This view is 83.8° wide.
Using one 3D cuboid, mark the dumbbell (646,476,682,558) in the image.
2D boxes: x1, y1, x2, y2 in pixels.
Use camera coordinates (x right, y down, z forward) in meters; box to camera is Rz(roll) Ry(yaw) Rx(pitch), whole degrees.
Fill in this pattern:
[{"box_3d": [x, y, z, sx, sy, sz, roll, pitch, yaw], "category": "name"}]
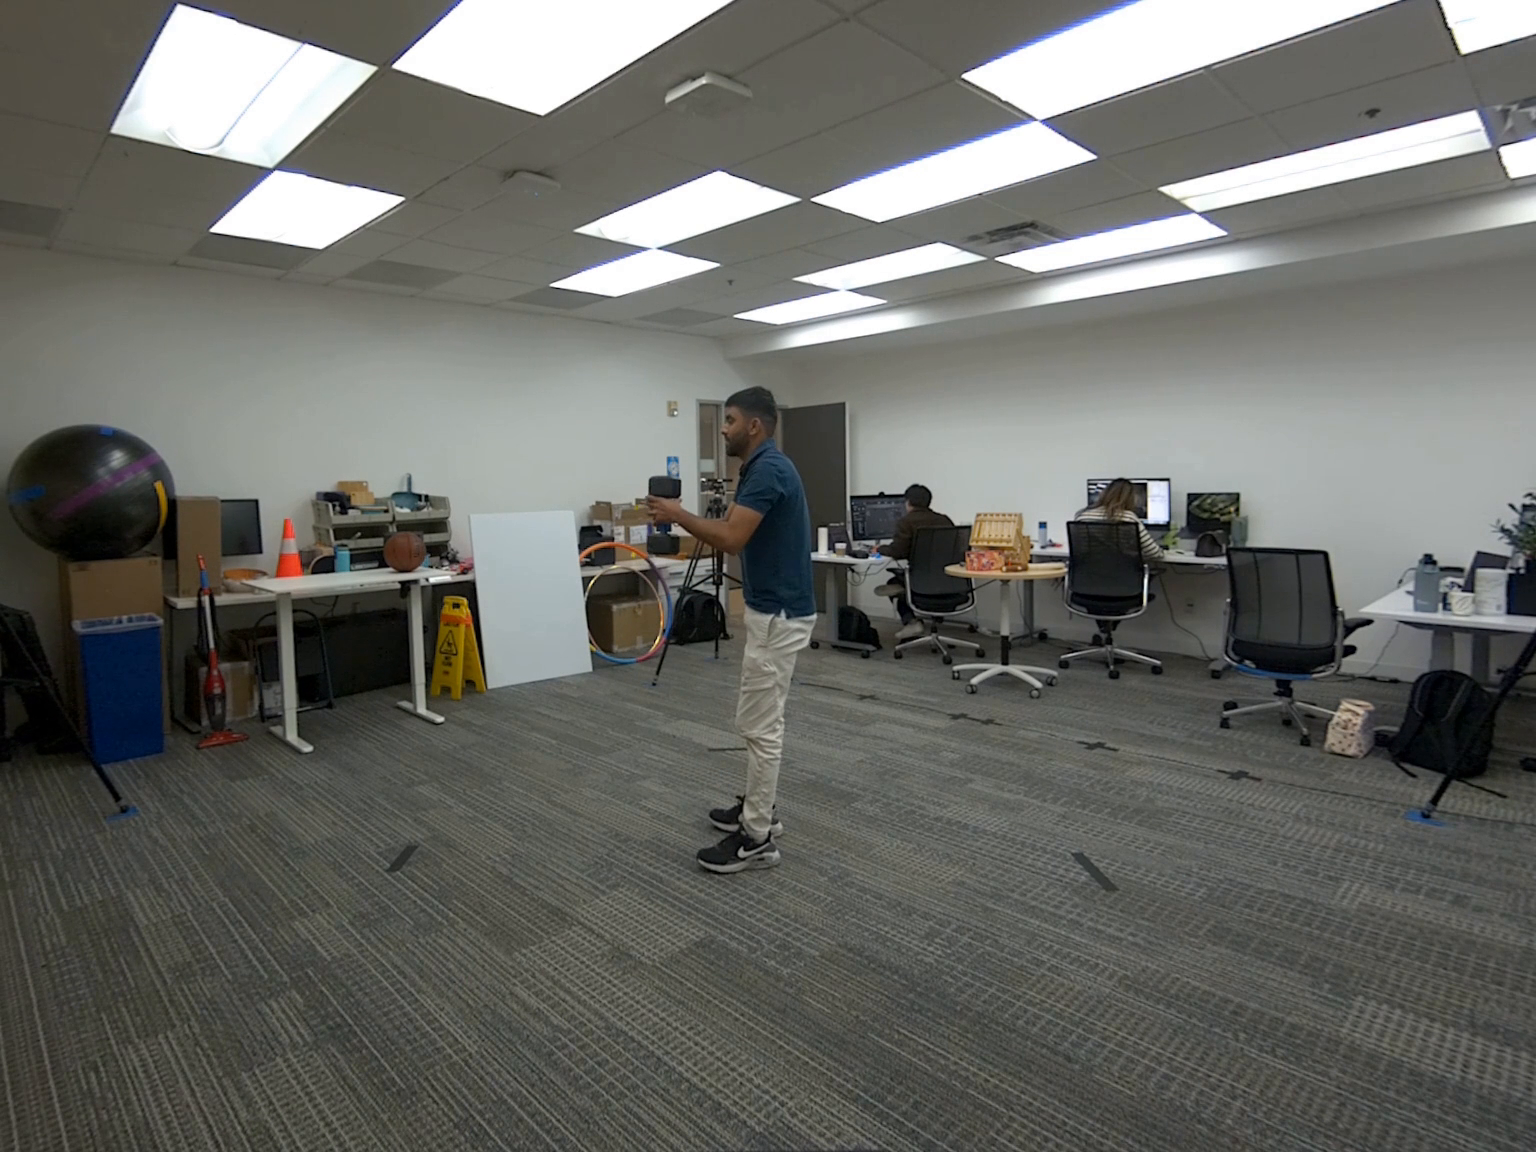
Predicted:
[{"box_3d": [-0.382, -0.221, 3.181, 0.123, 0.294, 0.109, 1, -1, -1], "category": "dumbbell"}]
